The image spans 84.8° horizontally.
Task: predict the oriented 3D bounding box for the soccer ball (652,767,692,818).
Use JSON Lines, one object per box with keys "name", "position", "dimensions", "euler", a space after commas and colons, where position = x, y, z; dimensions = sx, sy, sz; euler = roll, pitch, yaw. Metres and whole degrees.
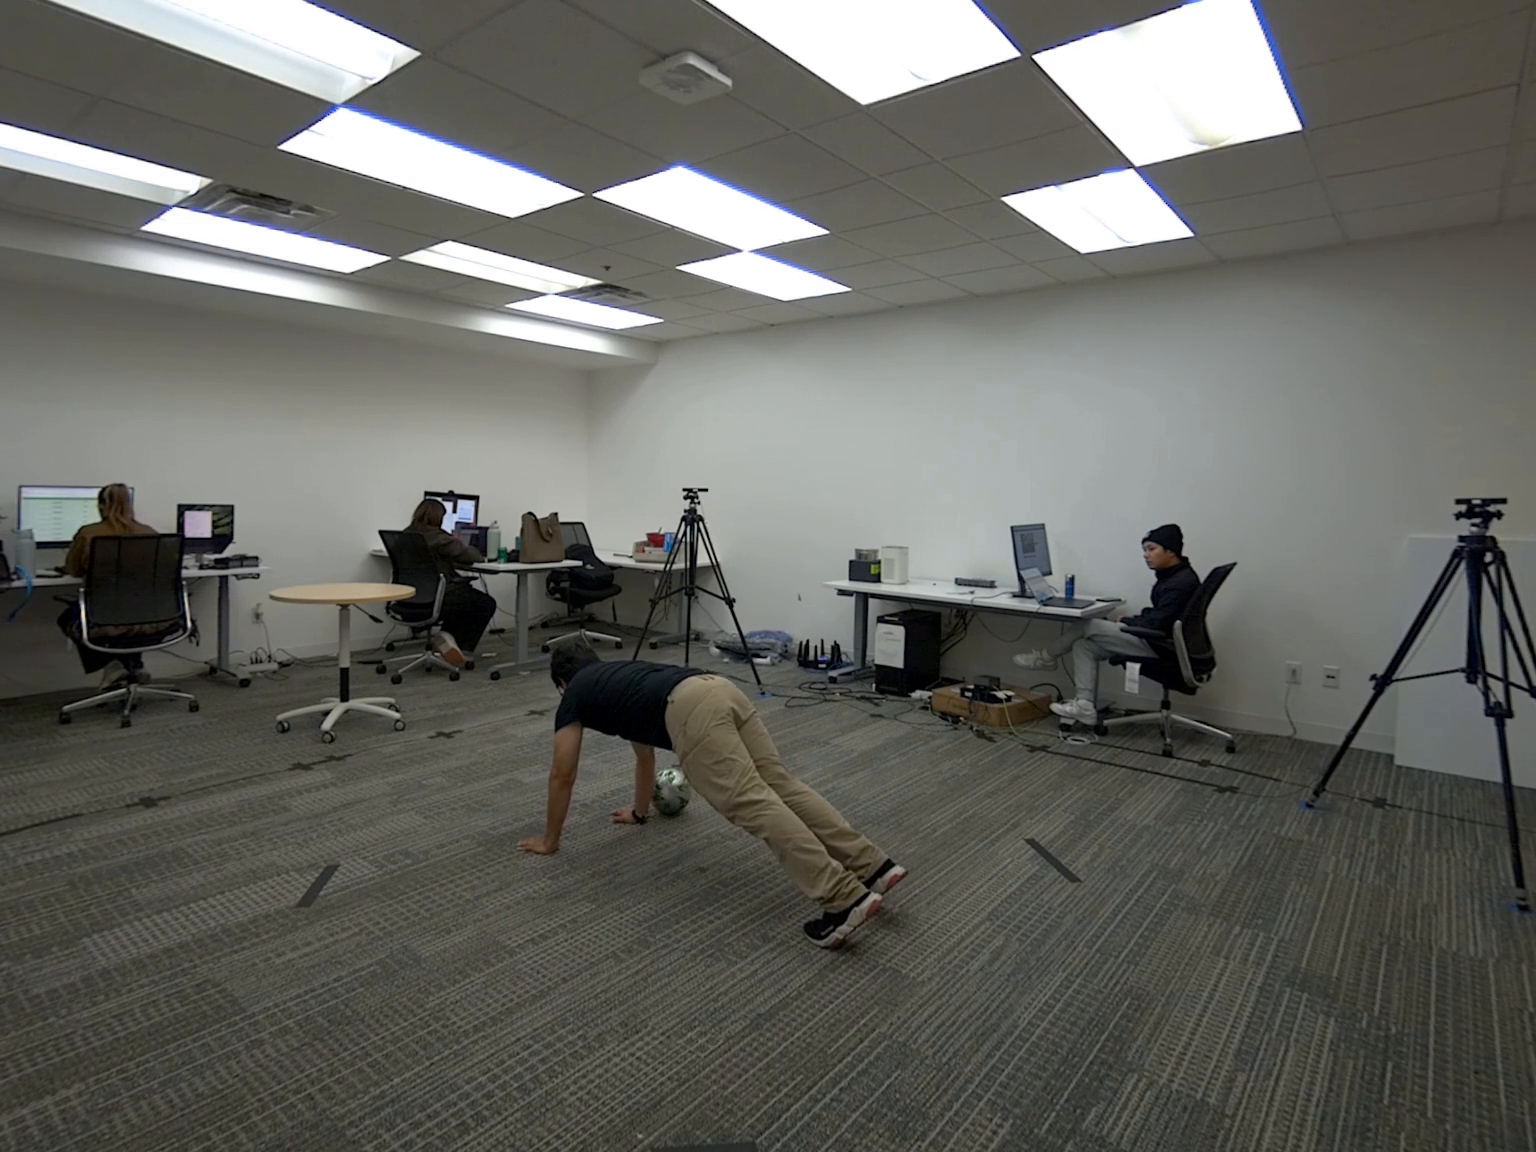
{"name": "soccer ball", "position": [-0.432, 0.925, 3.651], "dimensions": [0.187, 0.187, 0.188], "euler": [1, 4, -2]}
